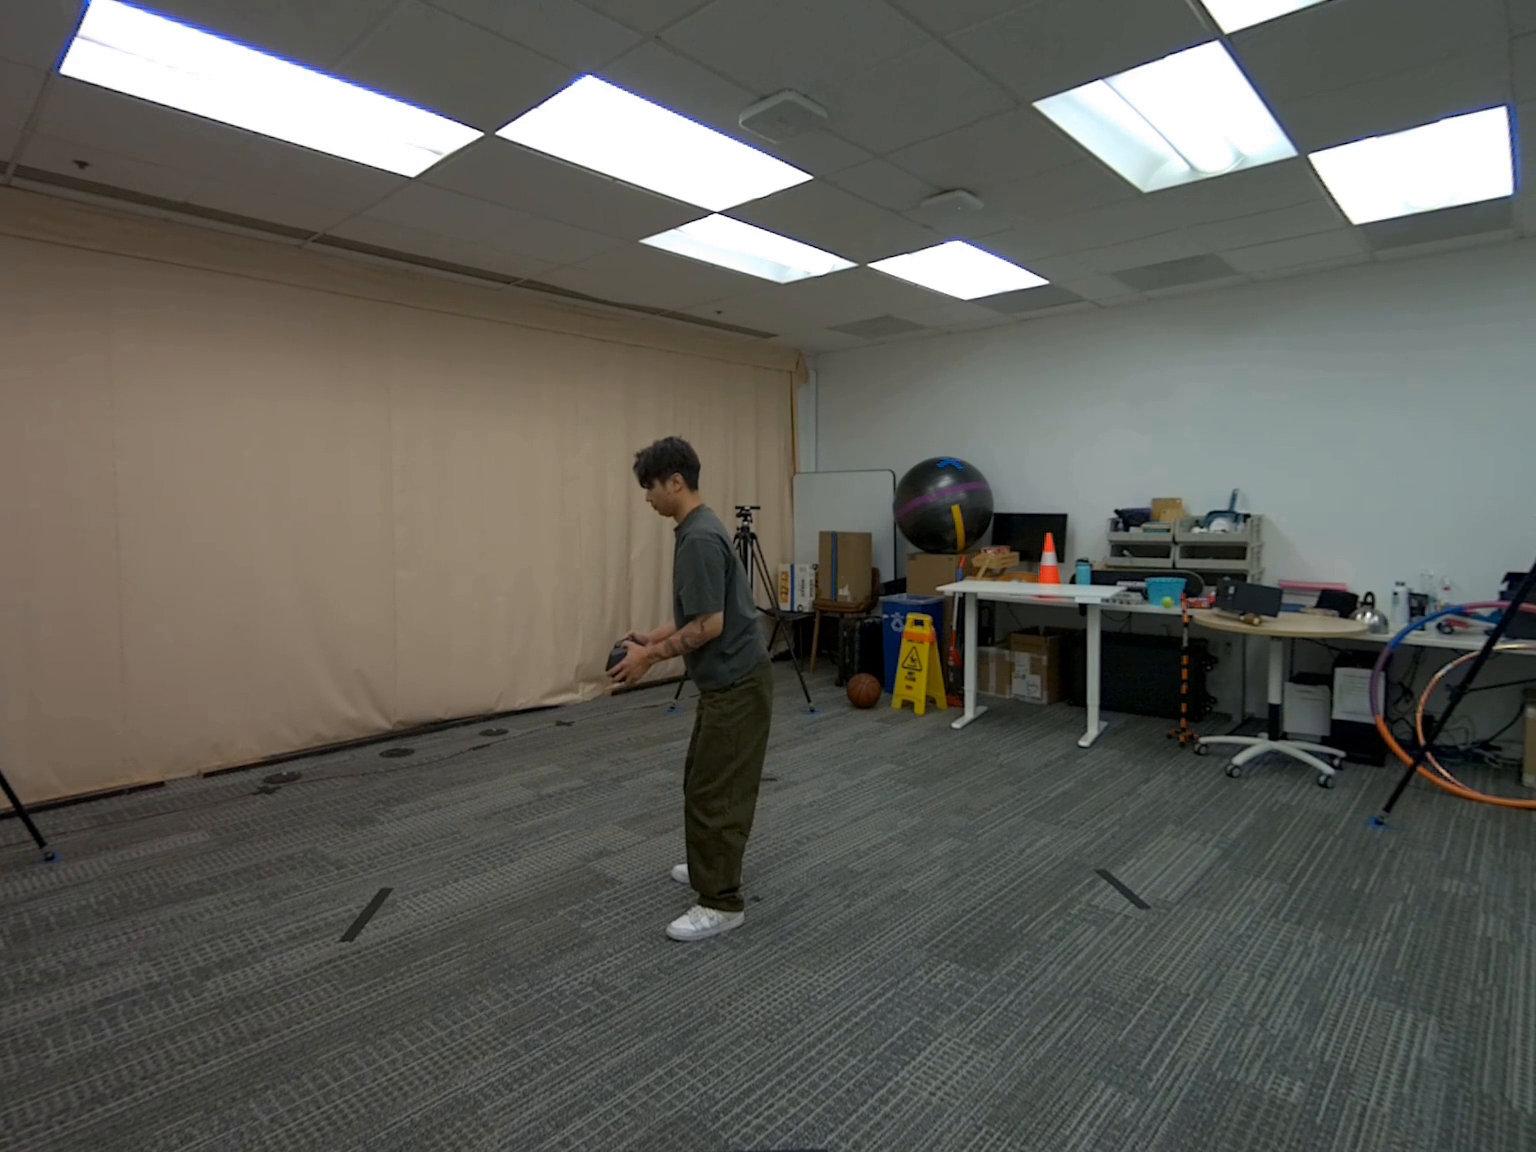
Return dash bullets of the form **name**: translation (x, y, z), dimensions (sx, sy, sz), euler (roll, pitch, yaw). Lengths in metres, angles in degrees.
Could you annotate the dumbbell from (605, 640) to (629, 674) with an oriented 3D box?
- **dumbbell**: translation (-0.478, 0.281, 2.908), dimensions (0.123, 0.108, 0.294), euler (-12, 5, -1)
